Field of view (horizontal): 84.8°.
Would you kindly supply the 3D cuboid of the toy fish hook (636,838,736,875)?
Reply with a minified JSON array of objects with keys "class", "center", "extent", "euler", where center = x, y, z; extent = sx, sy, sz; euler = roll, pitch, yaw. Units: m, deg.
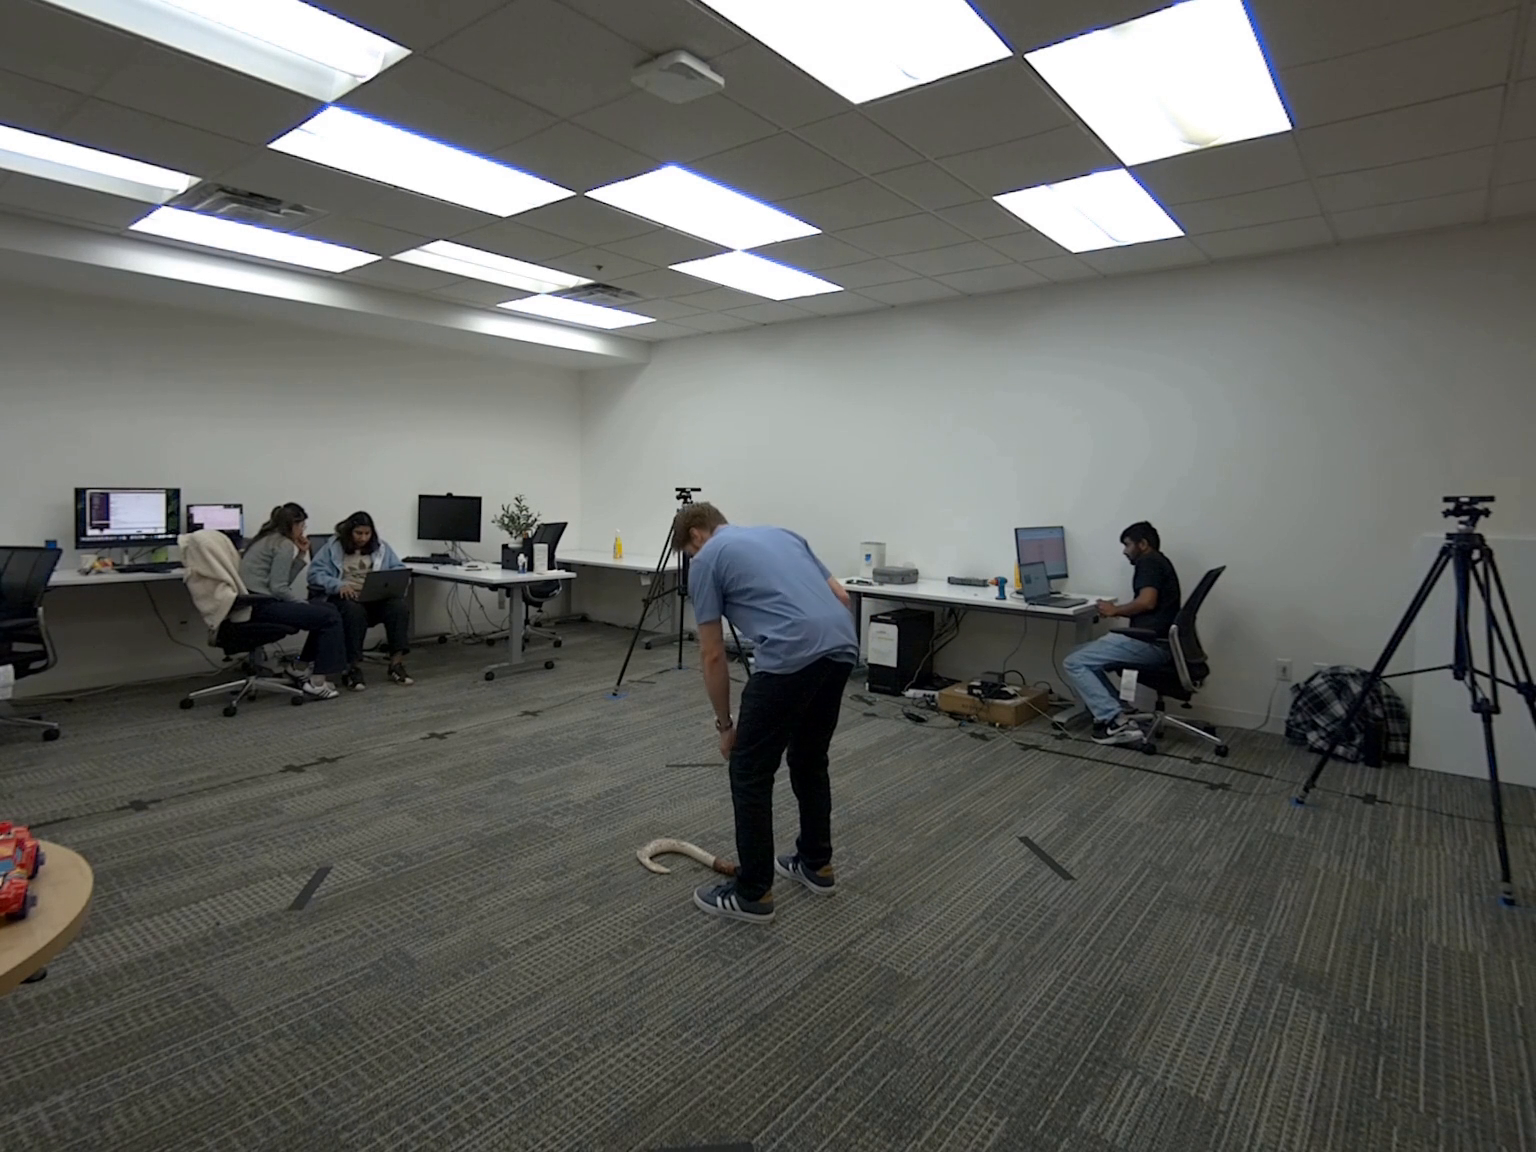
[{"class":"toy fish hook","center":[-0.264,1.053,3.094],"extent":[0.523,0.048,0.220],"euler":[4,15,34]}]
